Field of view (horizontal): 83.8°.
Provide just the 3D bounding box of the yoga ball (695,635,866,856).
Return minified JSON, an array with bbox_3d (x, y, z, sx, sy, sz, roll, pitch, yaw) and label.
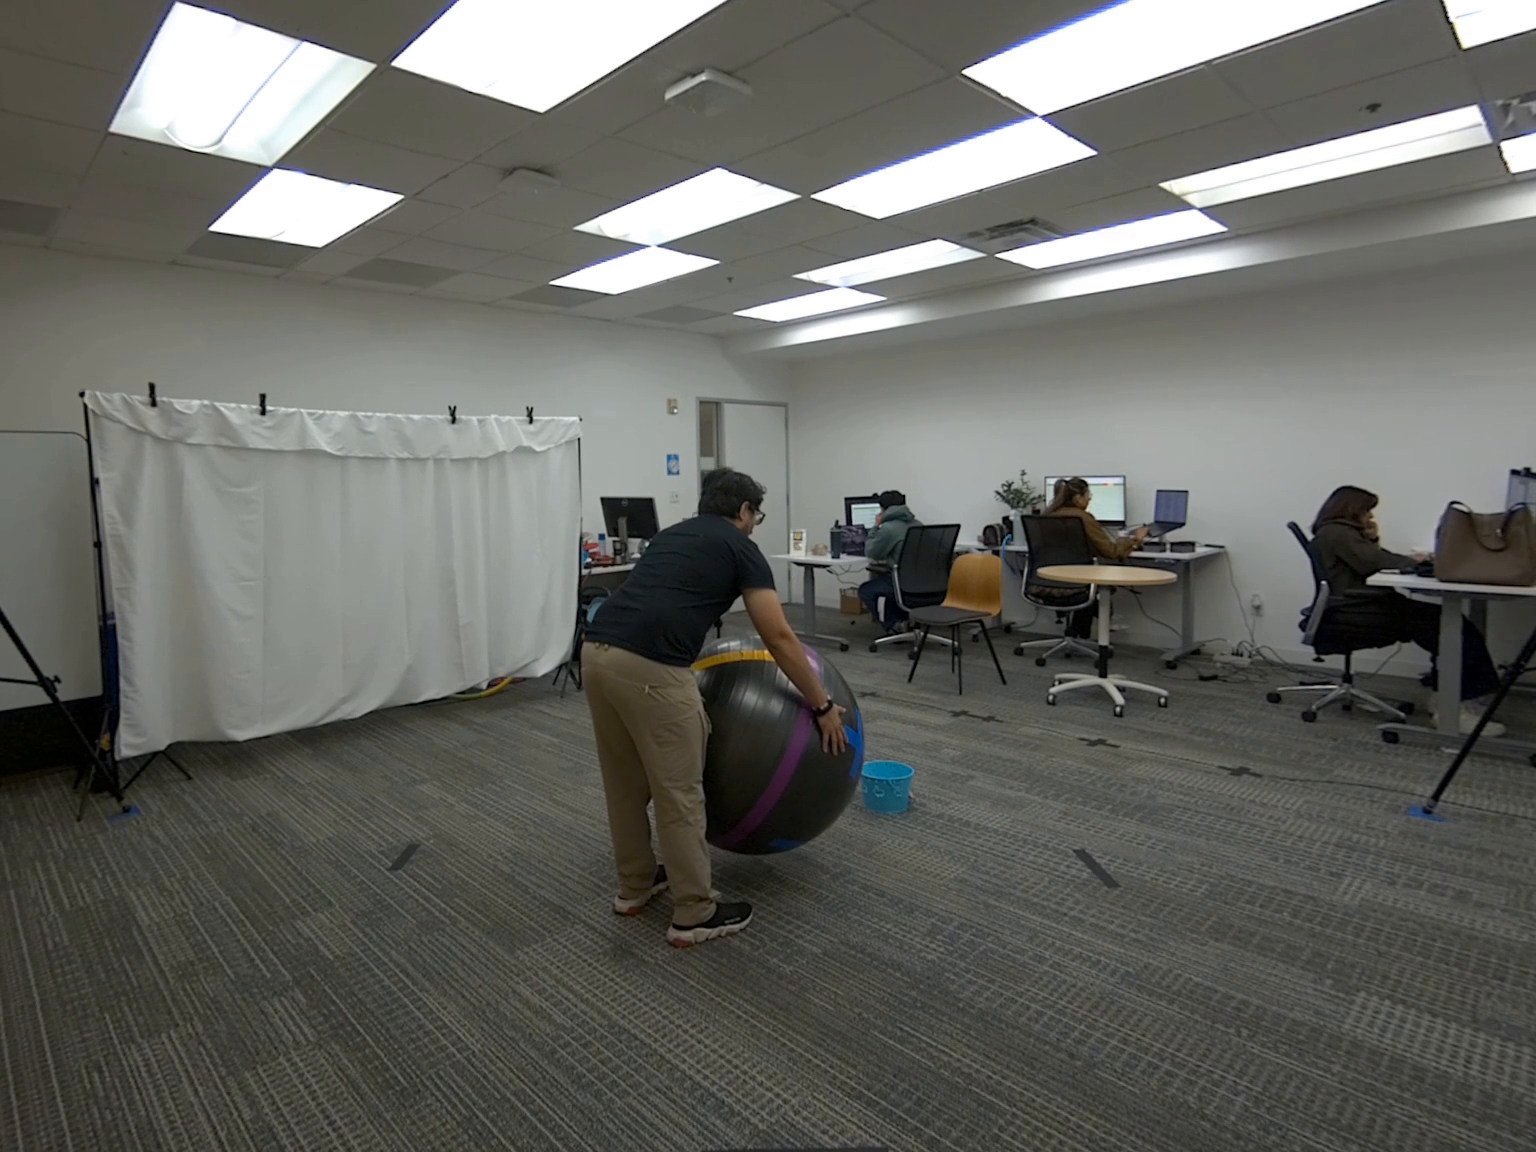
[{"bbox_3d":[-0.040,0.584,3.011,0.757,0.755,0.762,-1,5,-2],"label":"yoga ball"}]
